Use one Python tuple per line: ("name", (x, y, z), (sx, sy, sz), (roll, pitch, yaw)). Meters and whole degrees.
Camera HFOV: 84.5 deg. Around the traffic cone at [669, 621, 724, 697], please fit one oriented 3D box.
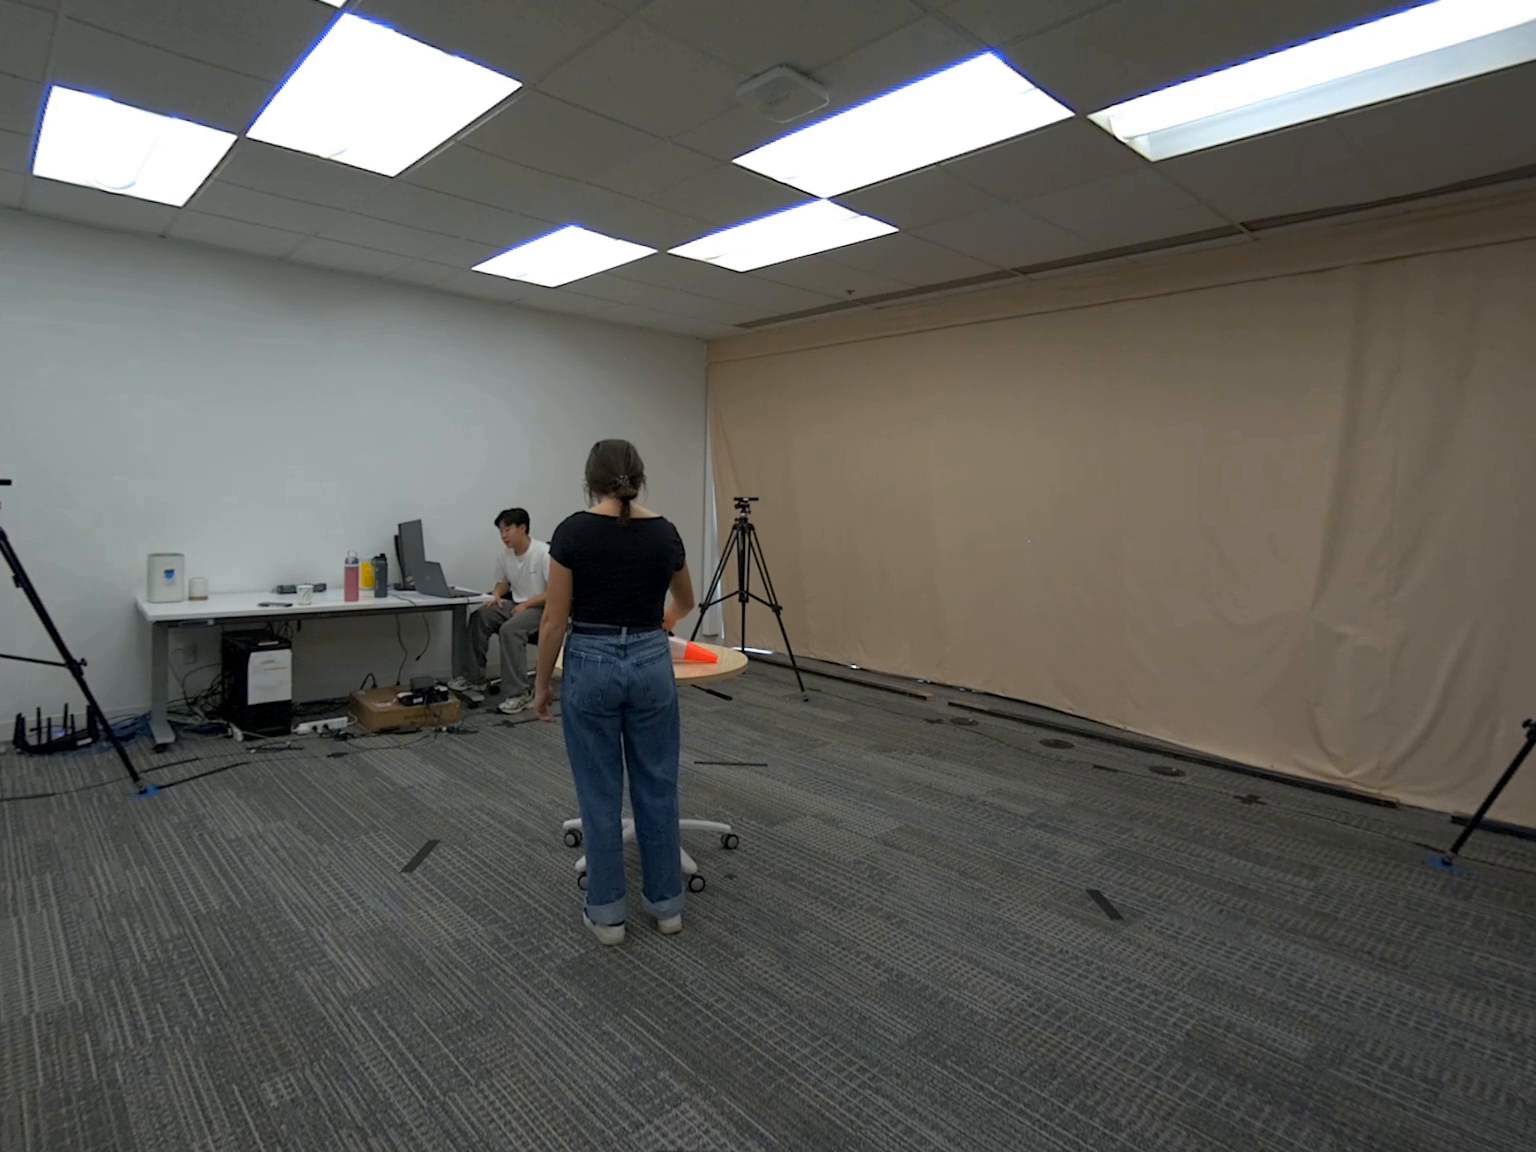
("traffic cone", (-0.379, 0.271, 3.101), (0.382, 0.203, 0.206), (15, 4, -4))
